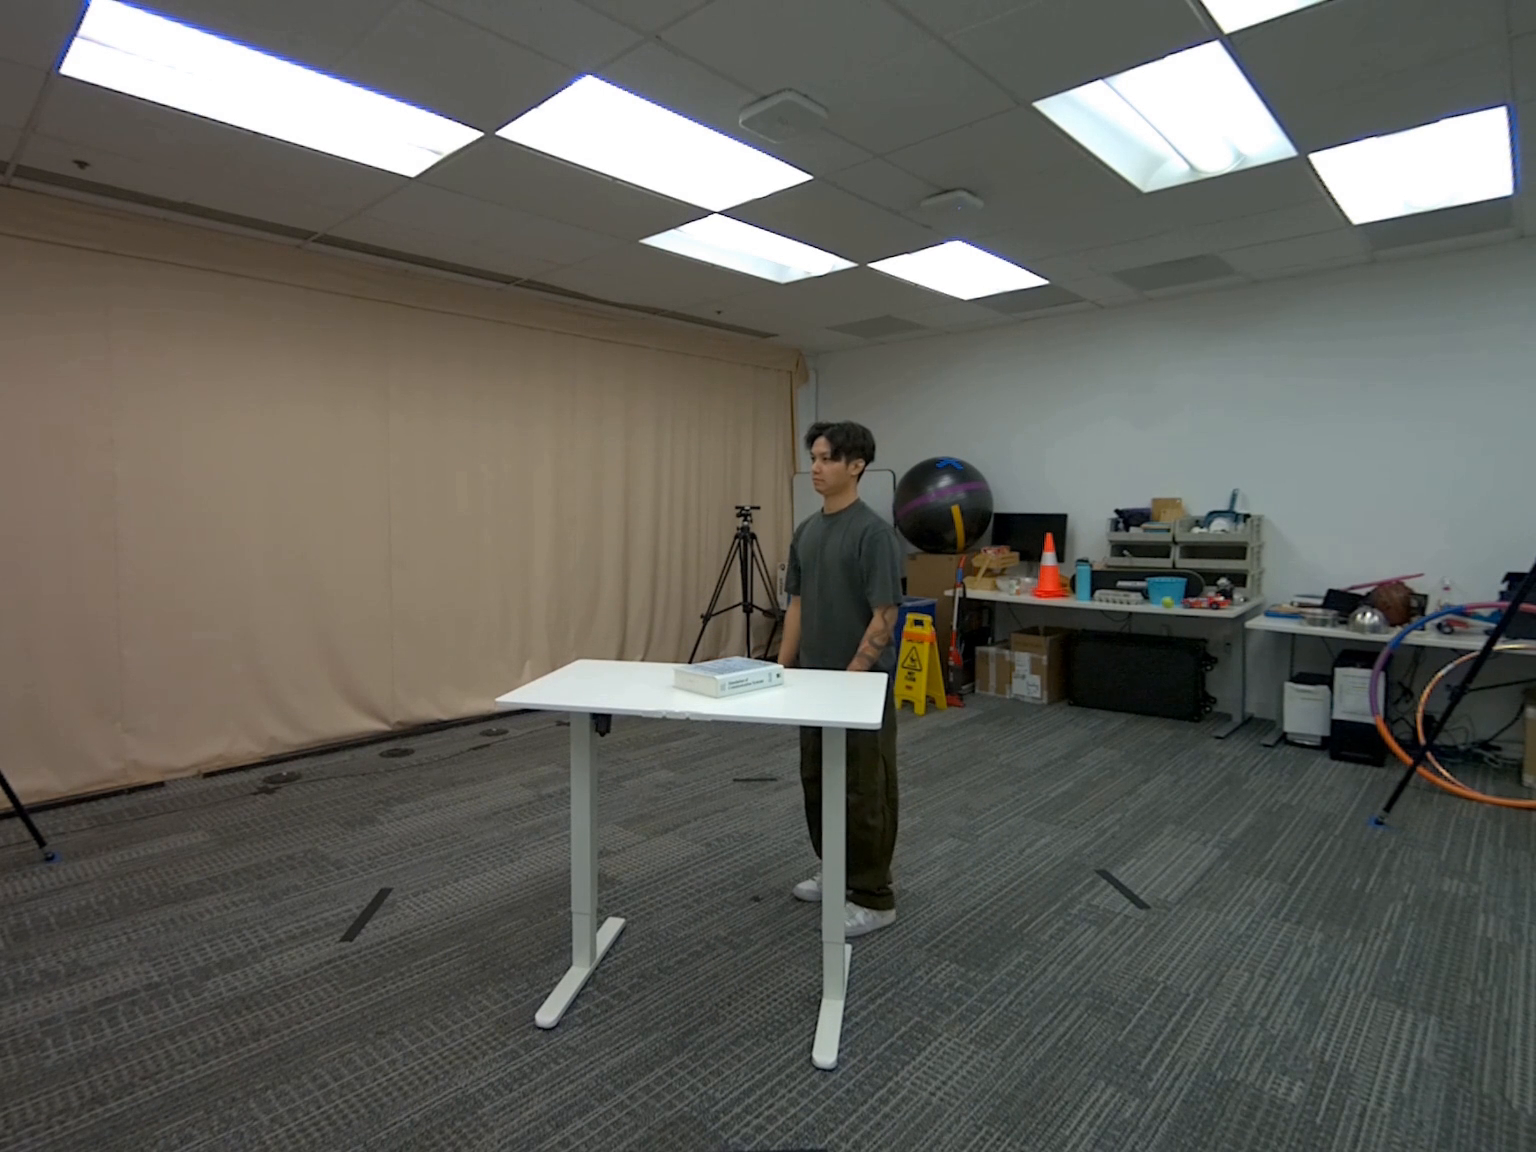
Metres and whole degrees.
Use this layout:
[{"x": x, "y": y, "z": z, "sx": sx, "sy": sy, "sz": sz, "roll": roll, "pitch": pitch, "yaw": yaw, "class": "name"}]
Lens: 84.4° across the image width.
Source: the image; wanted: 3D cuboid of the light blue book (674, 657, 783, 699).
[{"x": -0.111, "y": 0.287, "z": 2.381, "sx": 0.253, "sy": 0.059, "sz": 0.198, "roll": -4, "pitch": 7, "yaw": -45, "class": "light blue book"}]
